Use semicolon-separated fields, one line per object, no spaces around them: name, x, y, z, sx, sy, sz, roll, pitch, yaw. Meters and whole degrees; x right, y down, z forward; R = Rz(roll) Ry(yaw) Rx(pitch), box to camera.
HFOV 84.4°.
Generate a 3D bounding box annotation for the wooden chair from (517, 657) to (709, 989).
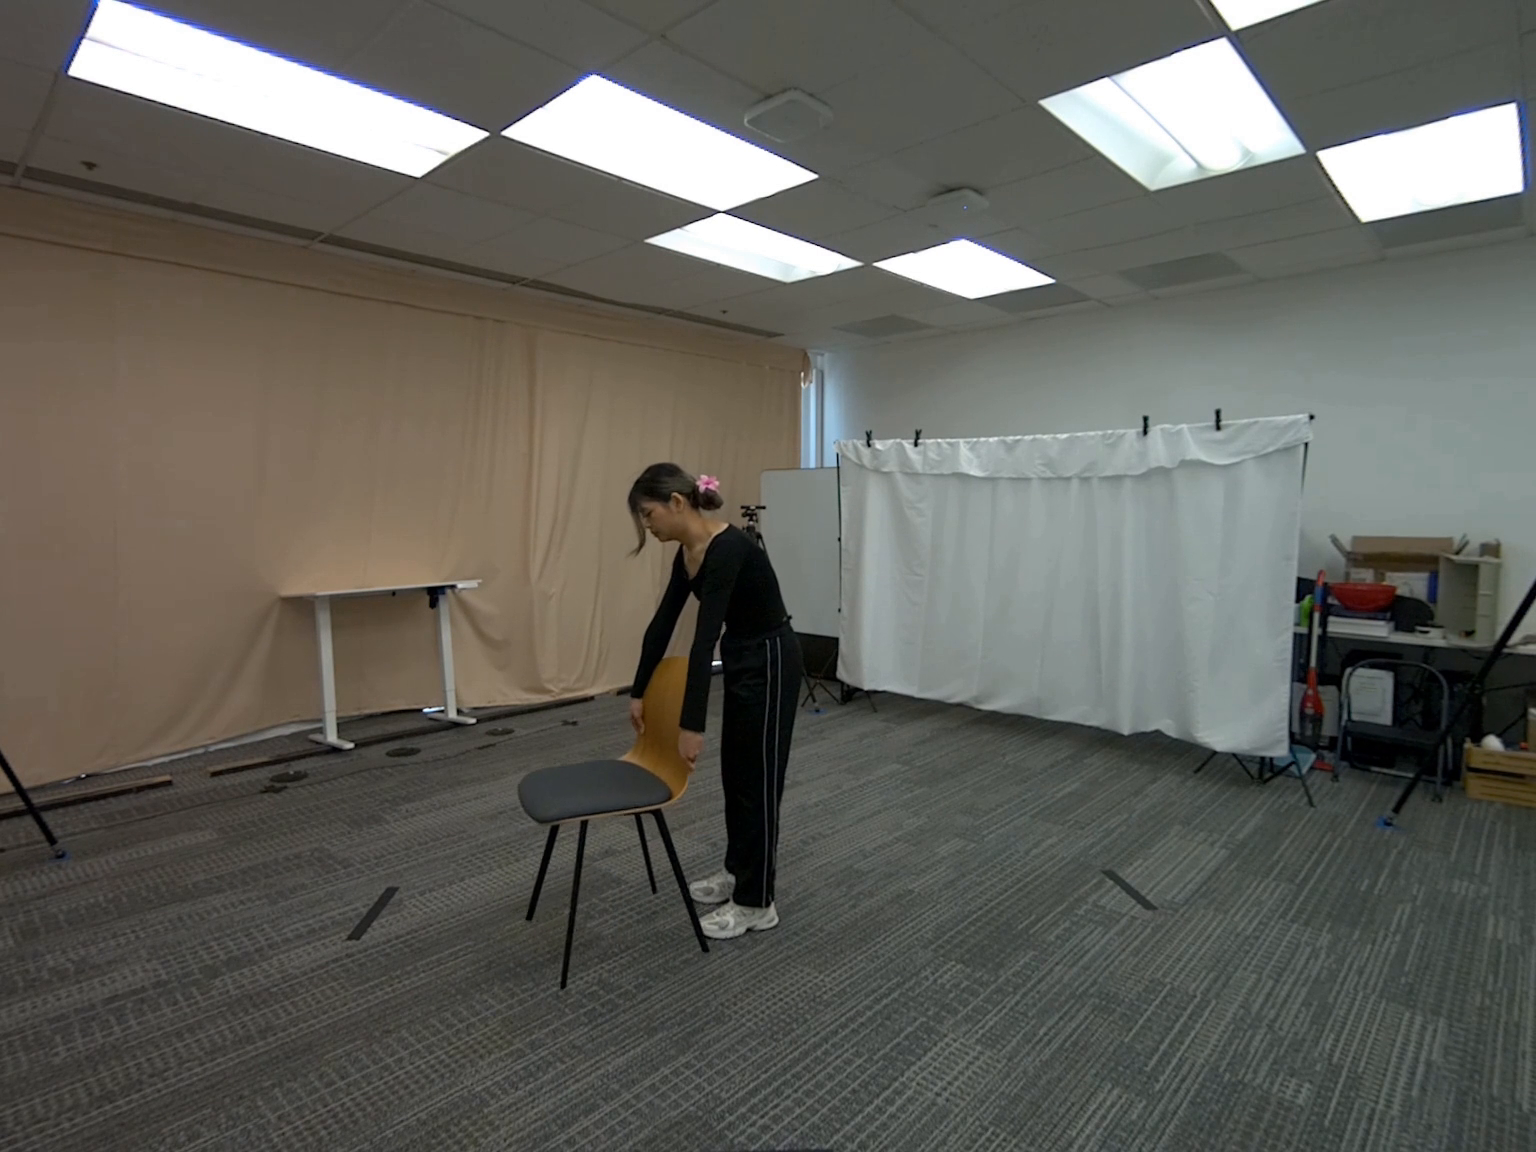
wooden chair;-0.488;0.700;2.599;0.510;0.877;0.491;3;1;-27
